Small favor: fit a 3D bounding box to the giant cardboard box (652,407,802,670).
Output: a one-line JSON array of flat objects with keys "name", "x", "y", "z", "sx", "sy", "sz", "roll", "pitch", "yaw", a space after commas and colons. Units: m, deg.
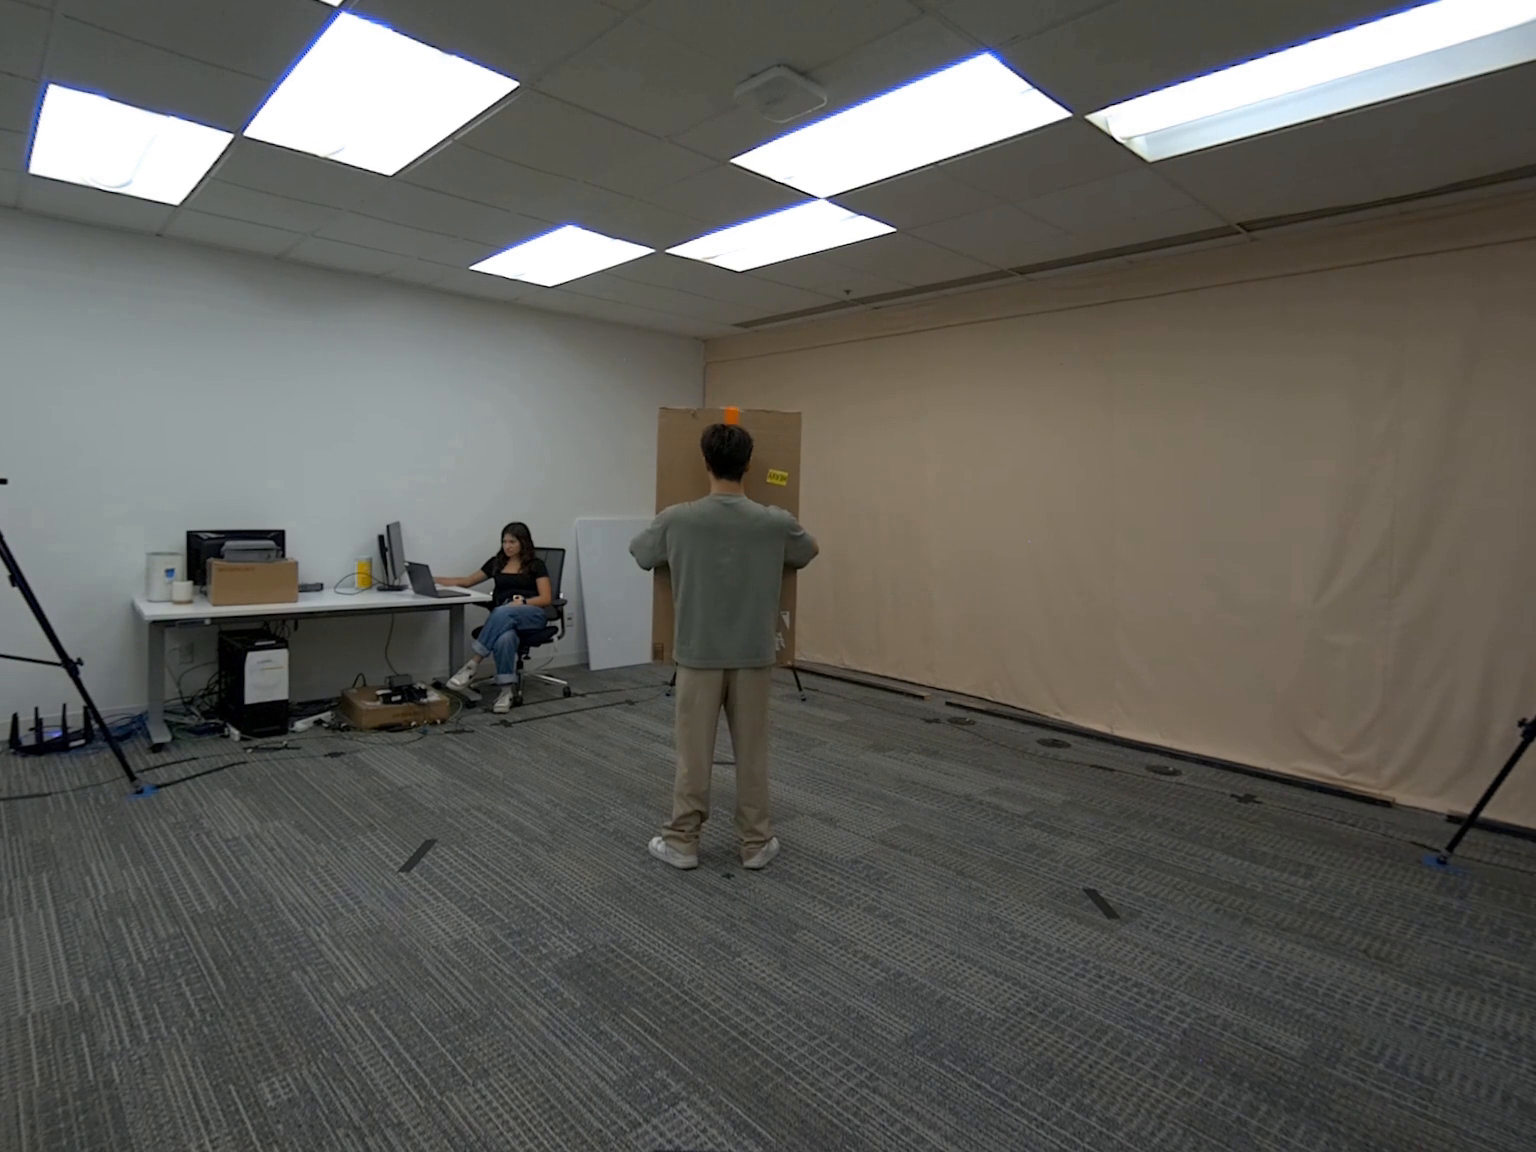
[{"name": "giant cardboard box", "x": -0.190, "y": -0.171, "z": 3.545, "sx": 0.576, "sy": 1.024, "sz": 0.428, "roll": 2, "pitch": 2, "yaw": -4}]
